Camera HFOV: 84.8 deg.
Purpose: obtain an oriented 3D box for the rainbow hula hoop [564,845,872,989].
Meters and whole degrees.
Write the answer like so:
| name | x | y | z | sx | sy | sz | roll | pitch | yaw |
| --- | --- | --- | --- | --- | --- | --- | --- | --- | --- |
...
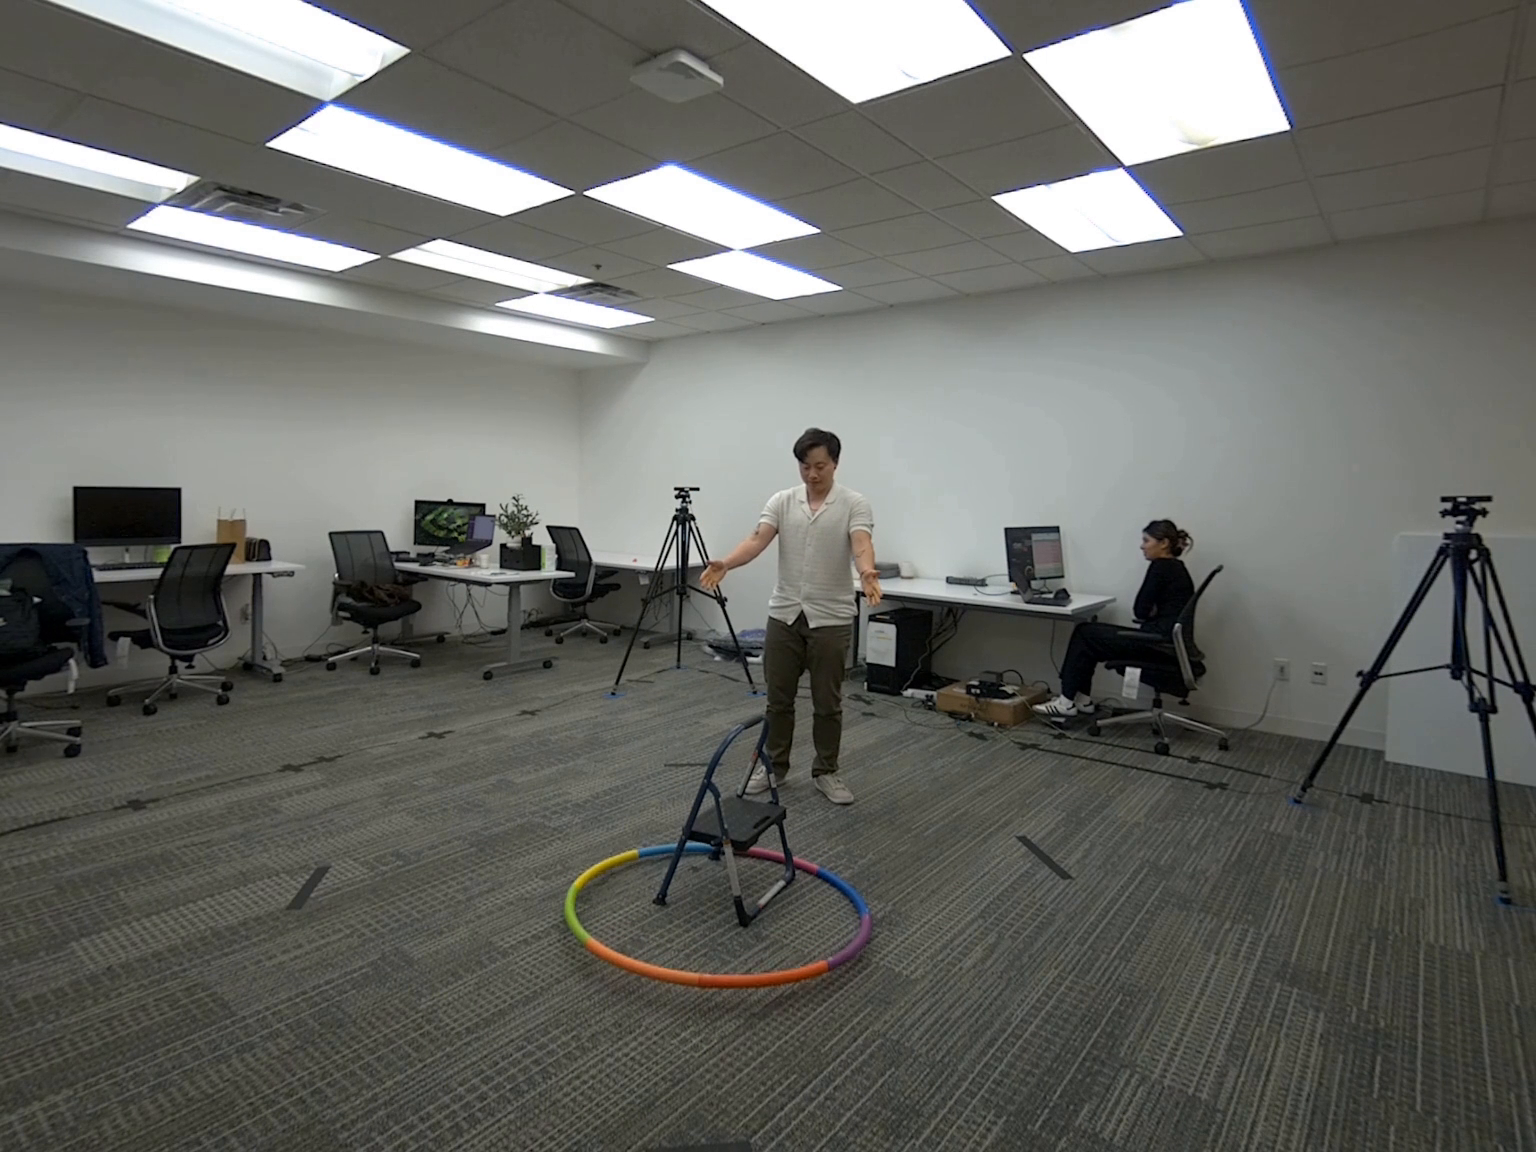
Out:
| name | x | y | z | sx | sy | sz | roll | pitch | yaw |
| --- | --- | --- | --- | --- | --- | --- | --- | --- | --- |
| rainbow hula hoop | -0.172 | 1.053 | 2.761 | 0.978 | 0.035 | 0.982 | 2 | 4 | -2 |
